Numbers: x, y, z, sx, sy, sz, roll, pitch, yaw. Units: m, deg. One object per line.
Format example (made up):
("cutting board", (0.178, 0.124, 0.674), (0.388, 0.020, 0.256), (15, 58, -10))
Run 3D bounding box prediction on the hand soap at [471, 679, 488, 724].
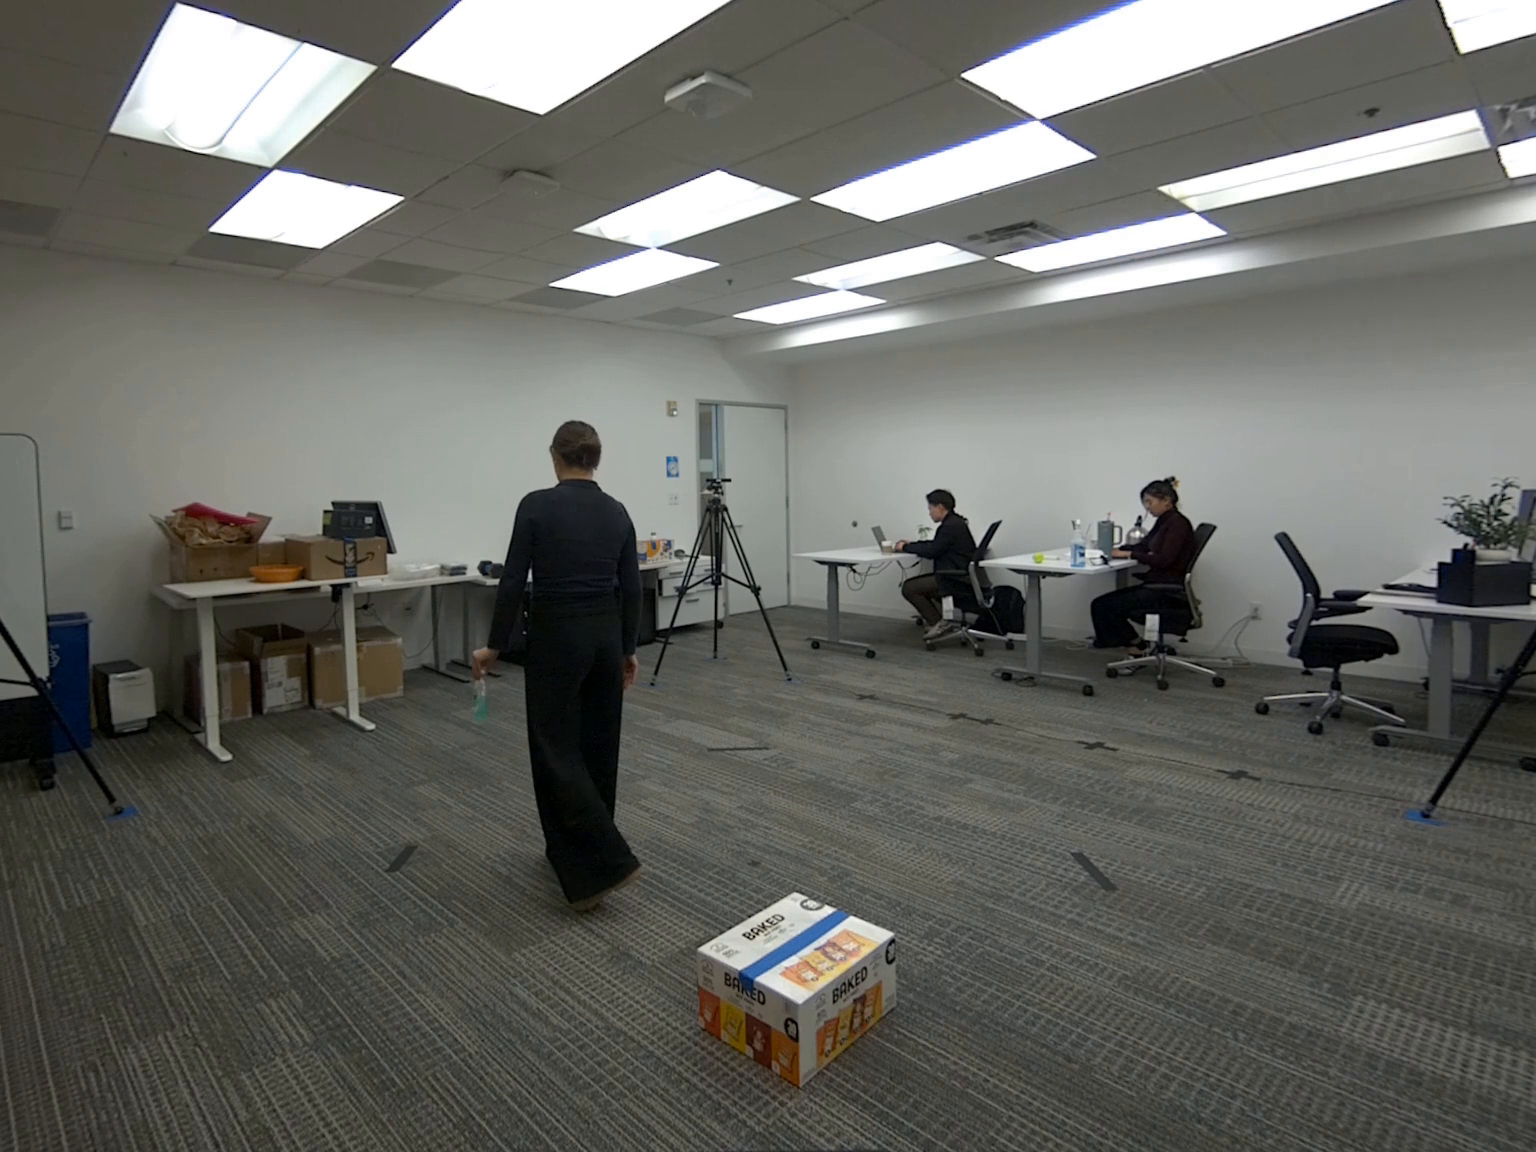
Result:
("hand soap", (-0.983, 0.408, 2.924), (0.042, 0.168, 0.087), (2, 1, -38))
